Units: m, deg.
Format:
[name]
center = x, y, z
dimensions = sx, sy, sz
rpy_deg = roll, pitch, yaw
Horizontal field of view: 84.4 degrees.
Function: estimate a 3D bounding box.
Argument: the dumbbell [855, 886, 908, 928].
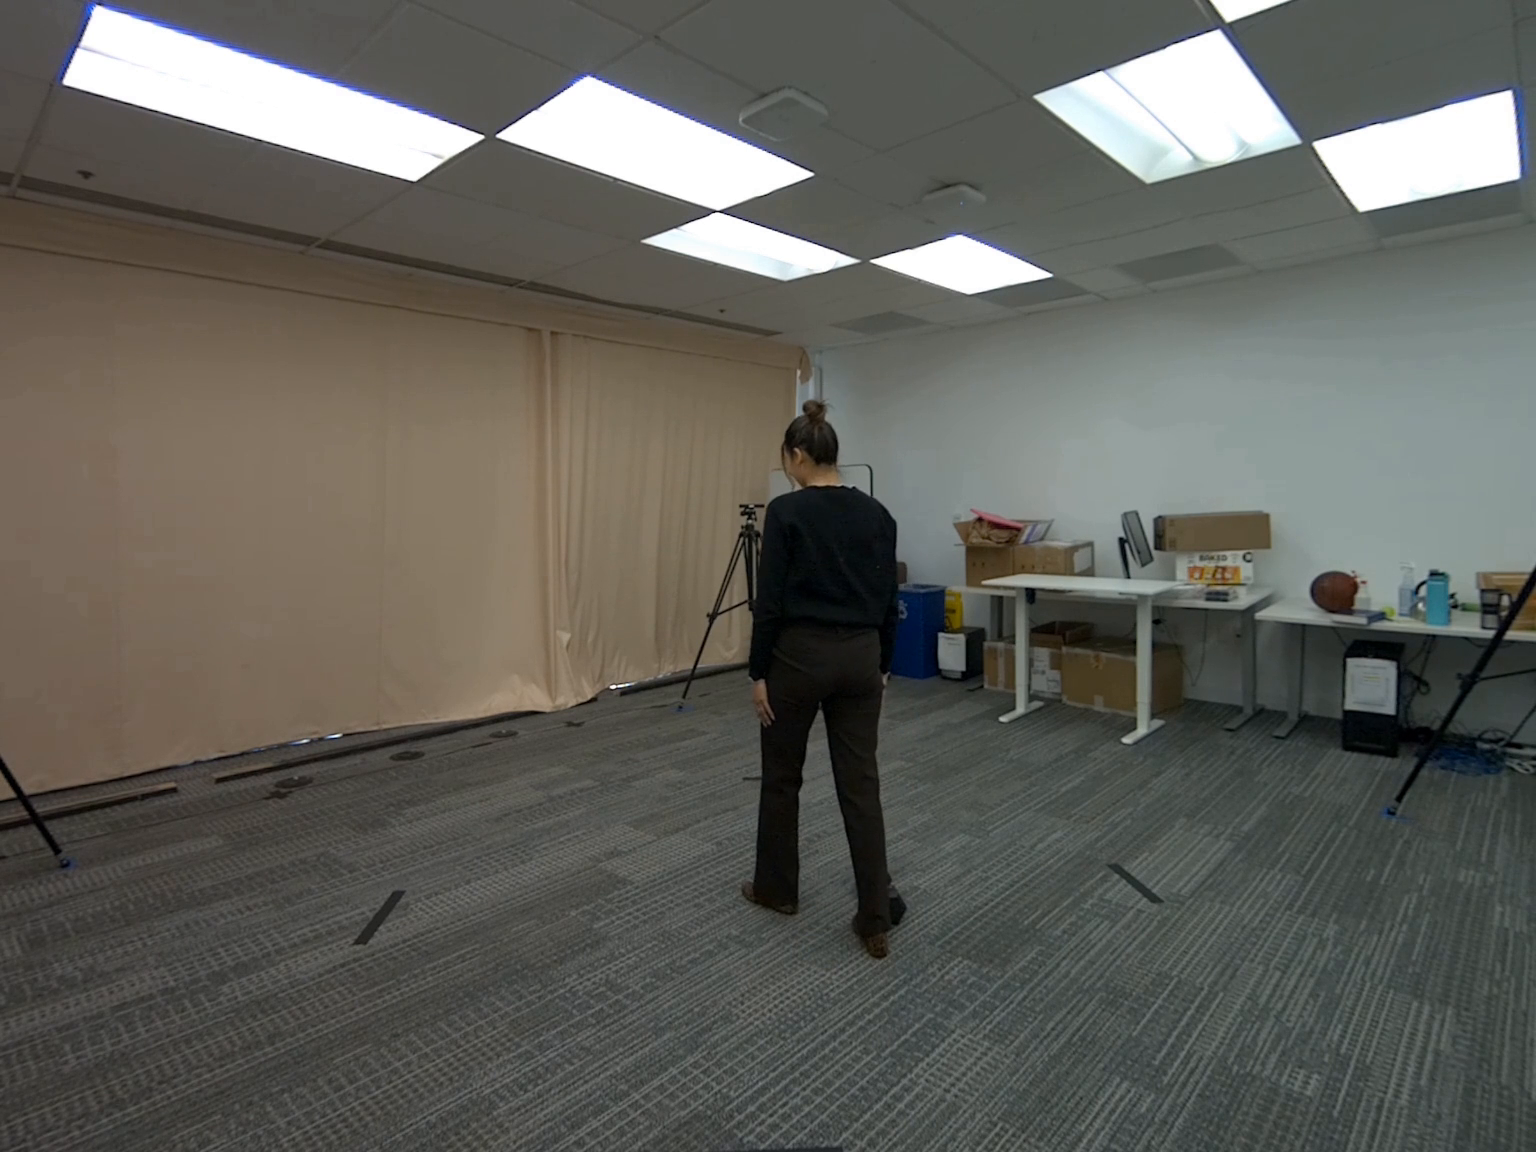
[dumbbell]
center = 0.396, 1.091, 2.903
dimensions = 0.108, 0.123, 0.295
rpy_deg = 27, 3, -7
